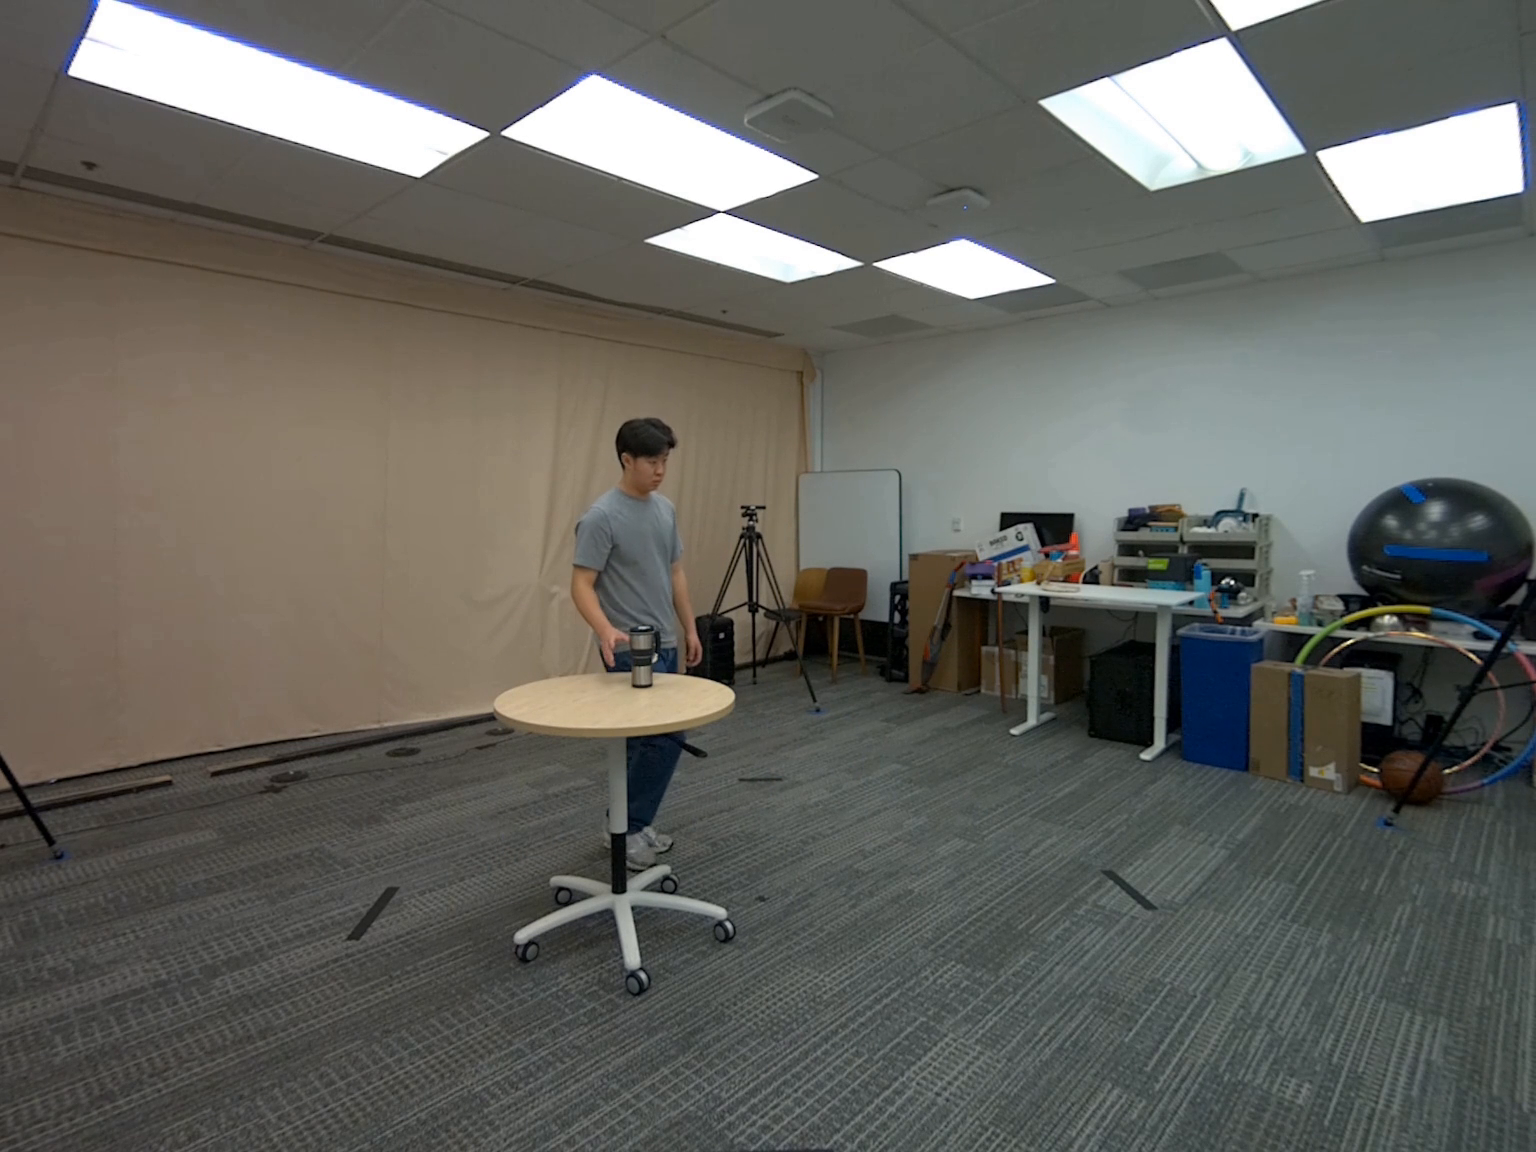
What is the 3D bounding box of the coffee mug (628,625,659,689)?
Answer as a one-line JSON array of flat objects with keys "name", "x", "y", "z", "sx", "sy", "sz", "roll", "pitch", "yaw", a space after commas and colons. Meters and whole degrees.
[{"name": "coffee mug", "x": -0.407, "y": 0.271, "z": 2.862, "sx": 0.119, "sy": 0.203, "sz": 0.090, "roll": -6, "pitch": 2, "yaw": -24}]
